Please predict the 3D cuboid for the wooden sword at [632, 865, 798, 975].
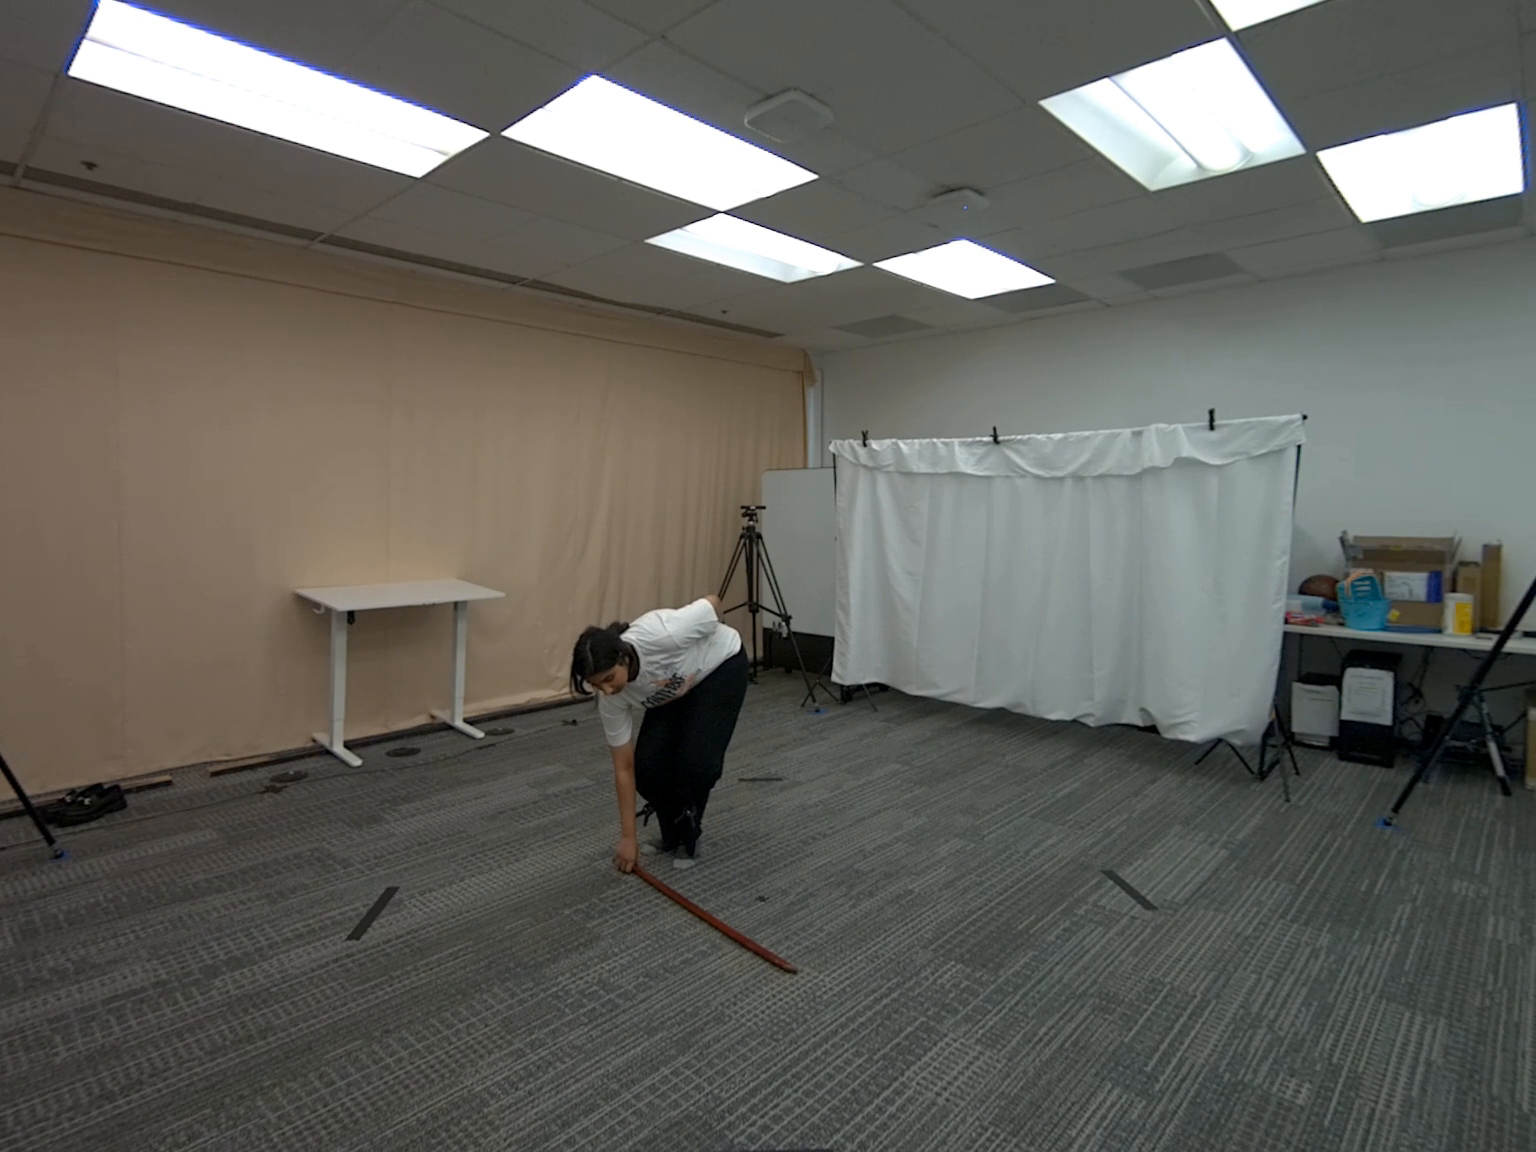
[{"bbox_3d":[-0.249,1.131,2.899,0.050,0.024,1.059,0,4,-40],"label":"wooden sword"}]
